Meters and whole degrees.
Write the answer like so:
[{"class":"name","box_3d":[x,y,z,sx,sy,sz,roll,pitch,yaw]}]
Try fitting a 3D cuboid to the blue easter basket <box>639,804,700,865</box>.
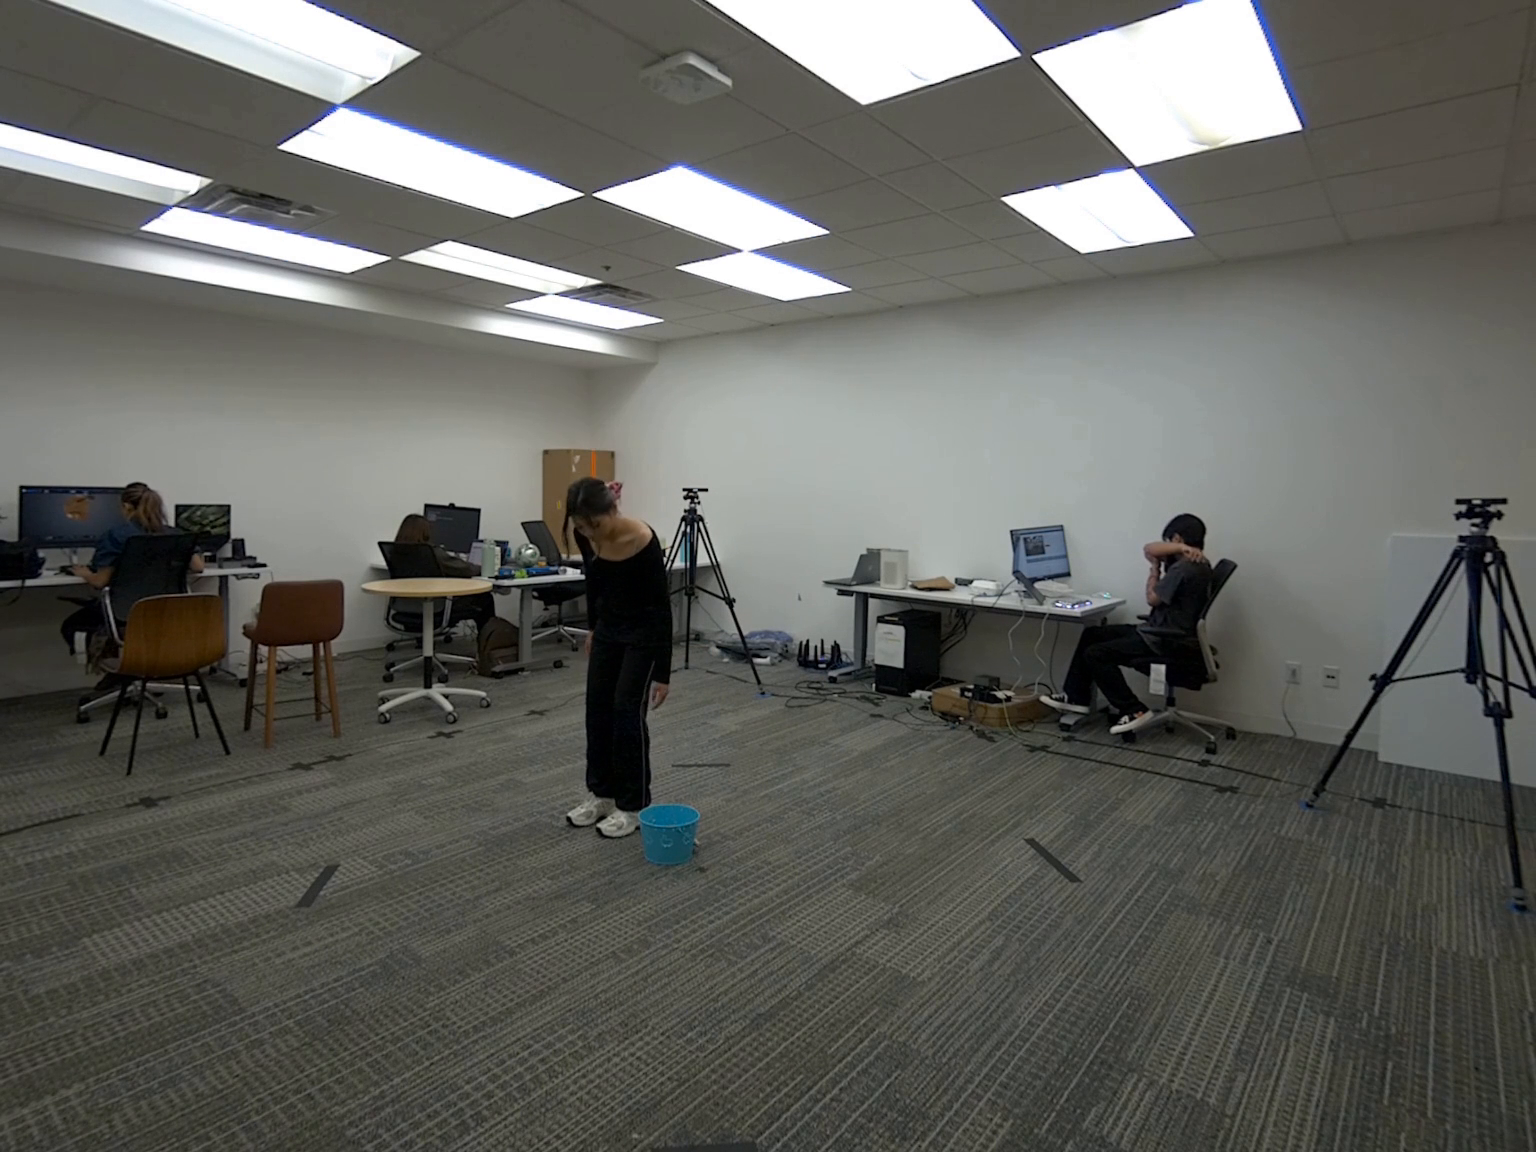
[{"class":"blue easter basket","box_3d":[-0.382,0.976,3.228,0.243,0.155,0.245,0,4,-2]}]
